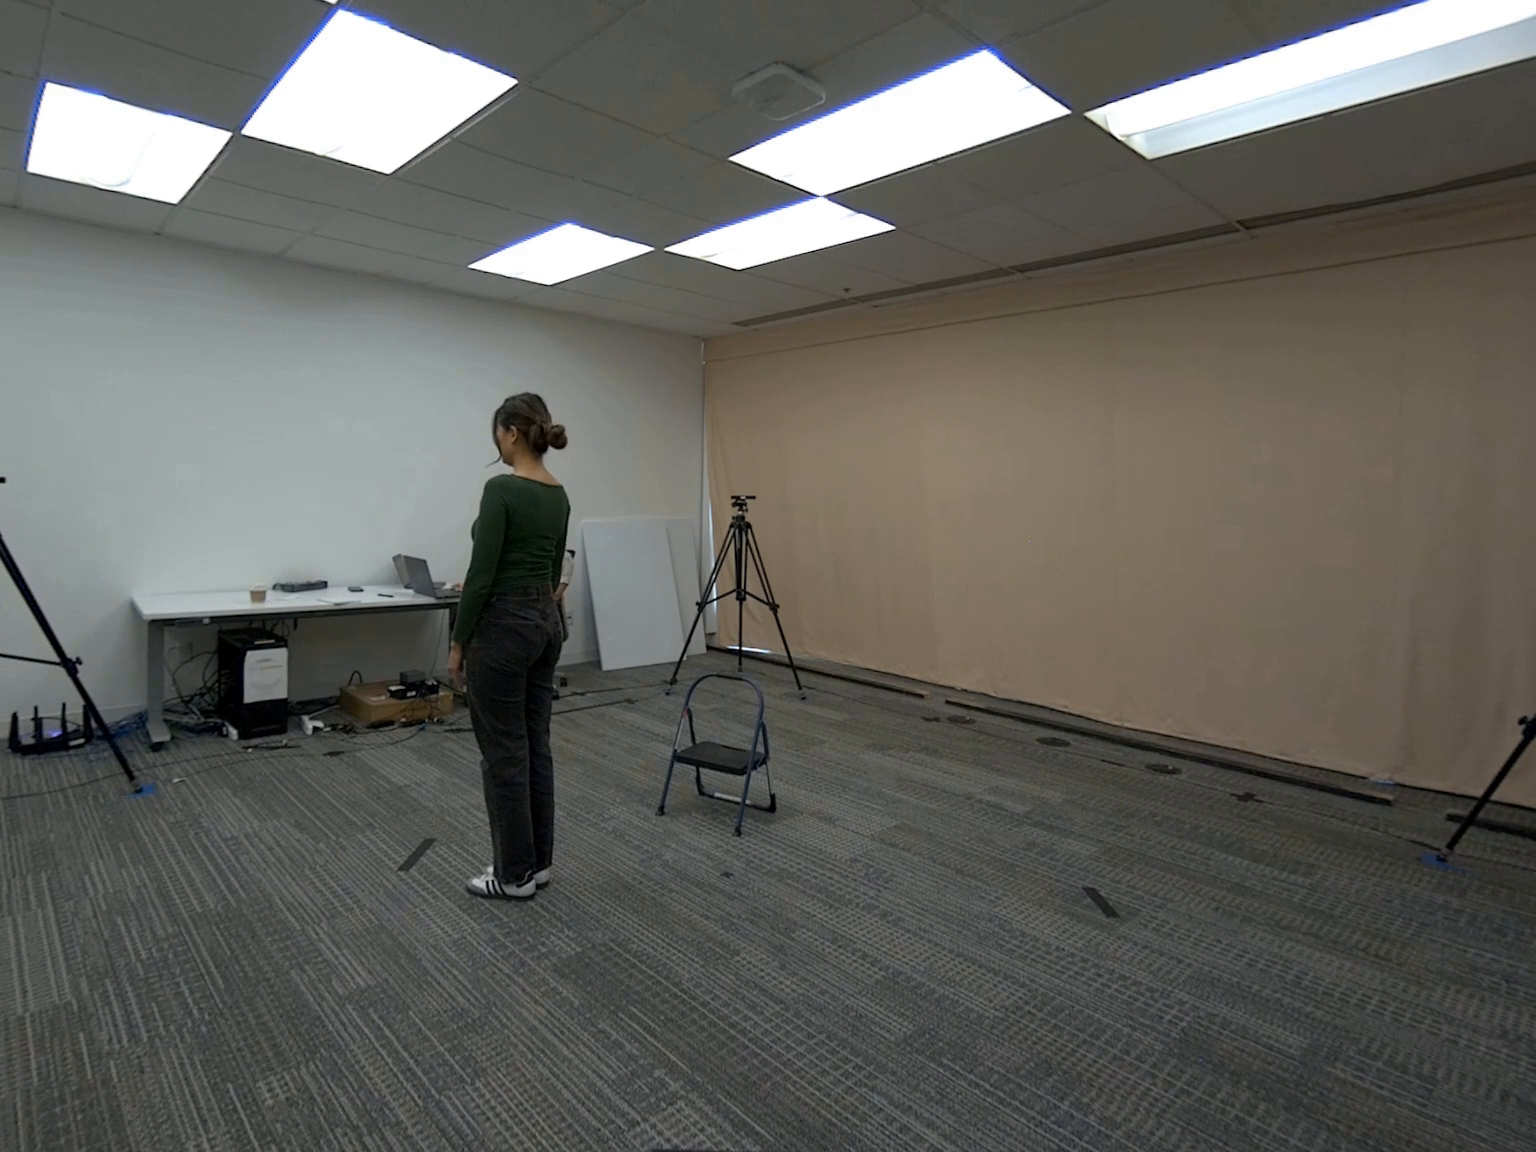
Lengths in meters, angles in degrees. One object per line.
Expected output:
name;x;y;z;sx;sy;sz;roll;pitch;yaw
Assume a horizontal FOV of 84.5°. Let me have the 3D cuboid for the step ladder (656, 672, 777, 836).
step ladder;-0.222;0.745;3.692;0.440;0.604;0.342;4;4;30
